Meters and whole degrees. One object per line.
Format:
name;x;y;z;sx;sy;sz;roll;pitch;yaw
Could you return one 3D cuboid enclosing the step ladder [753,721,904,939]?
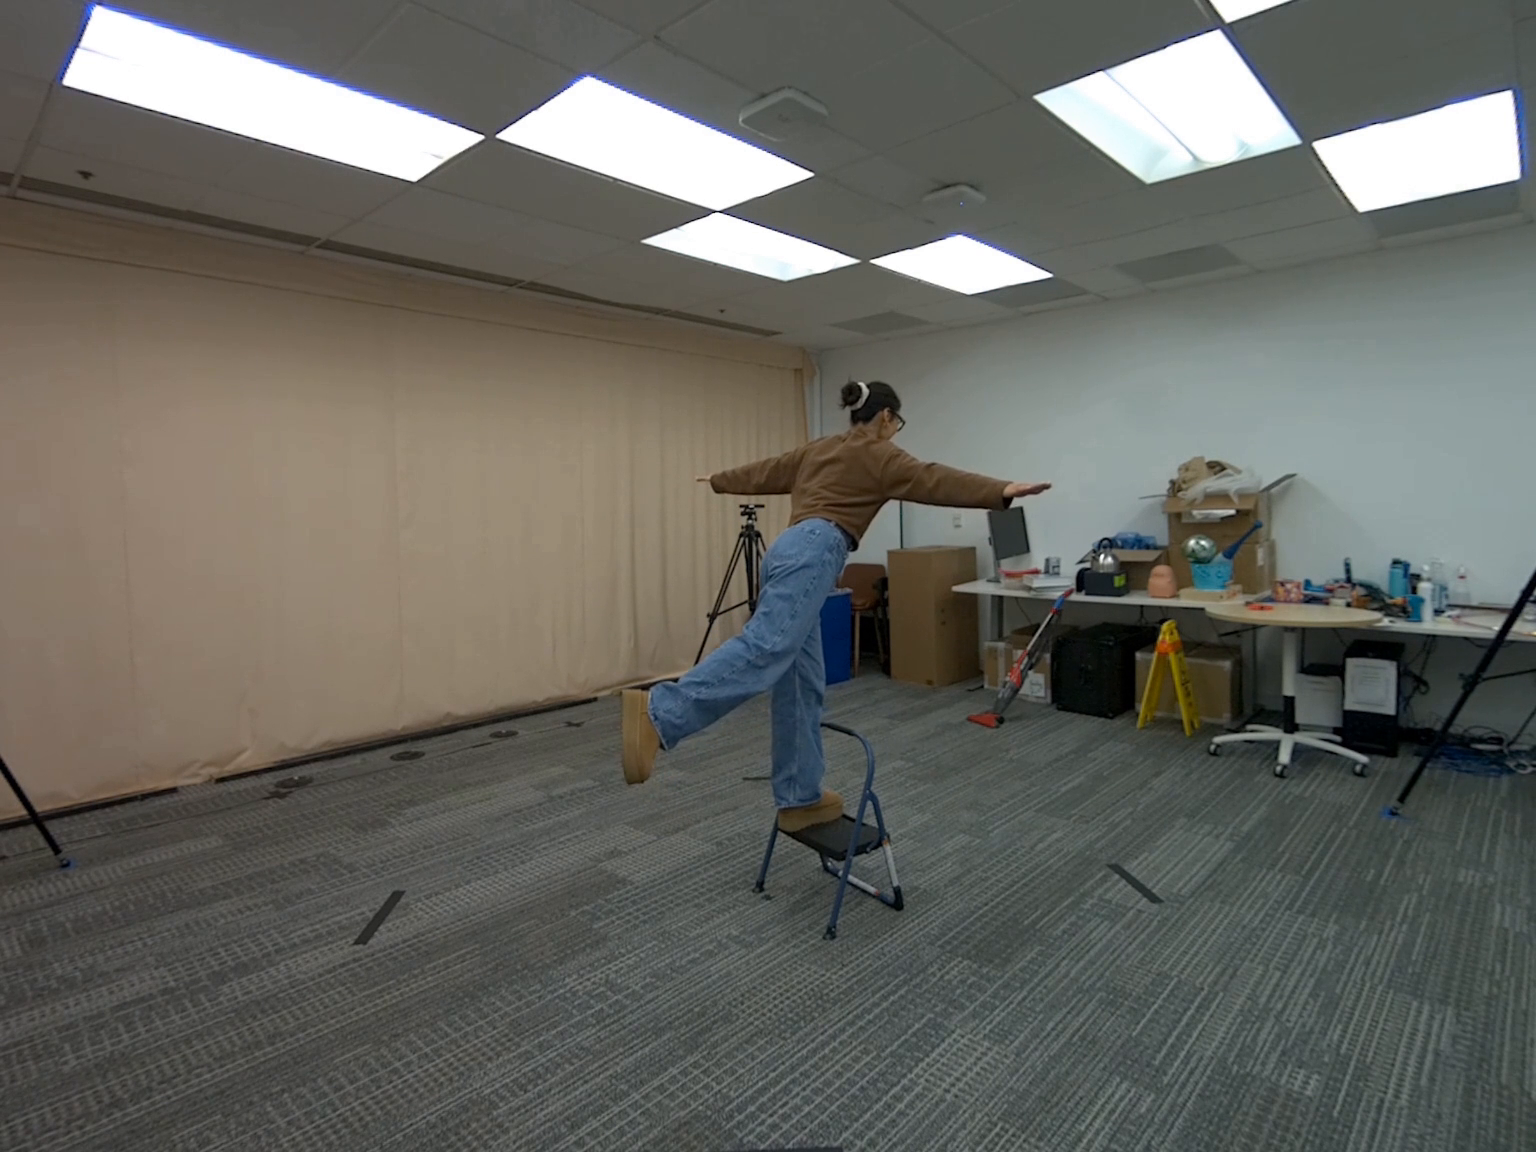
step ladder;0.210;0.838;2.939;0.339;0.605;0.444;-3;4;-36
